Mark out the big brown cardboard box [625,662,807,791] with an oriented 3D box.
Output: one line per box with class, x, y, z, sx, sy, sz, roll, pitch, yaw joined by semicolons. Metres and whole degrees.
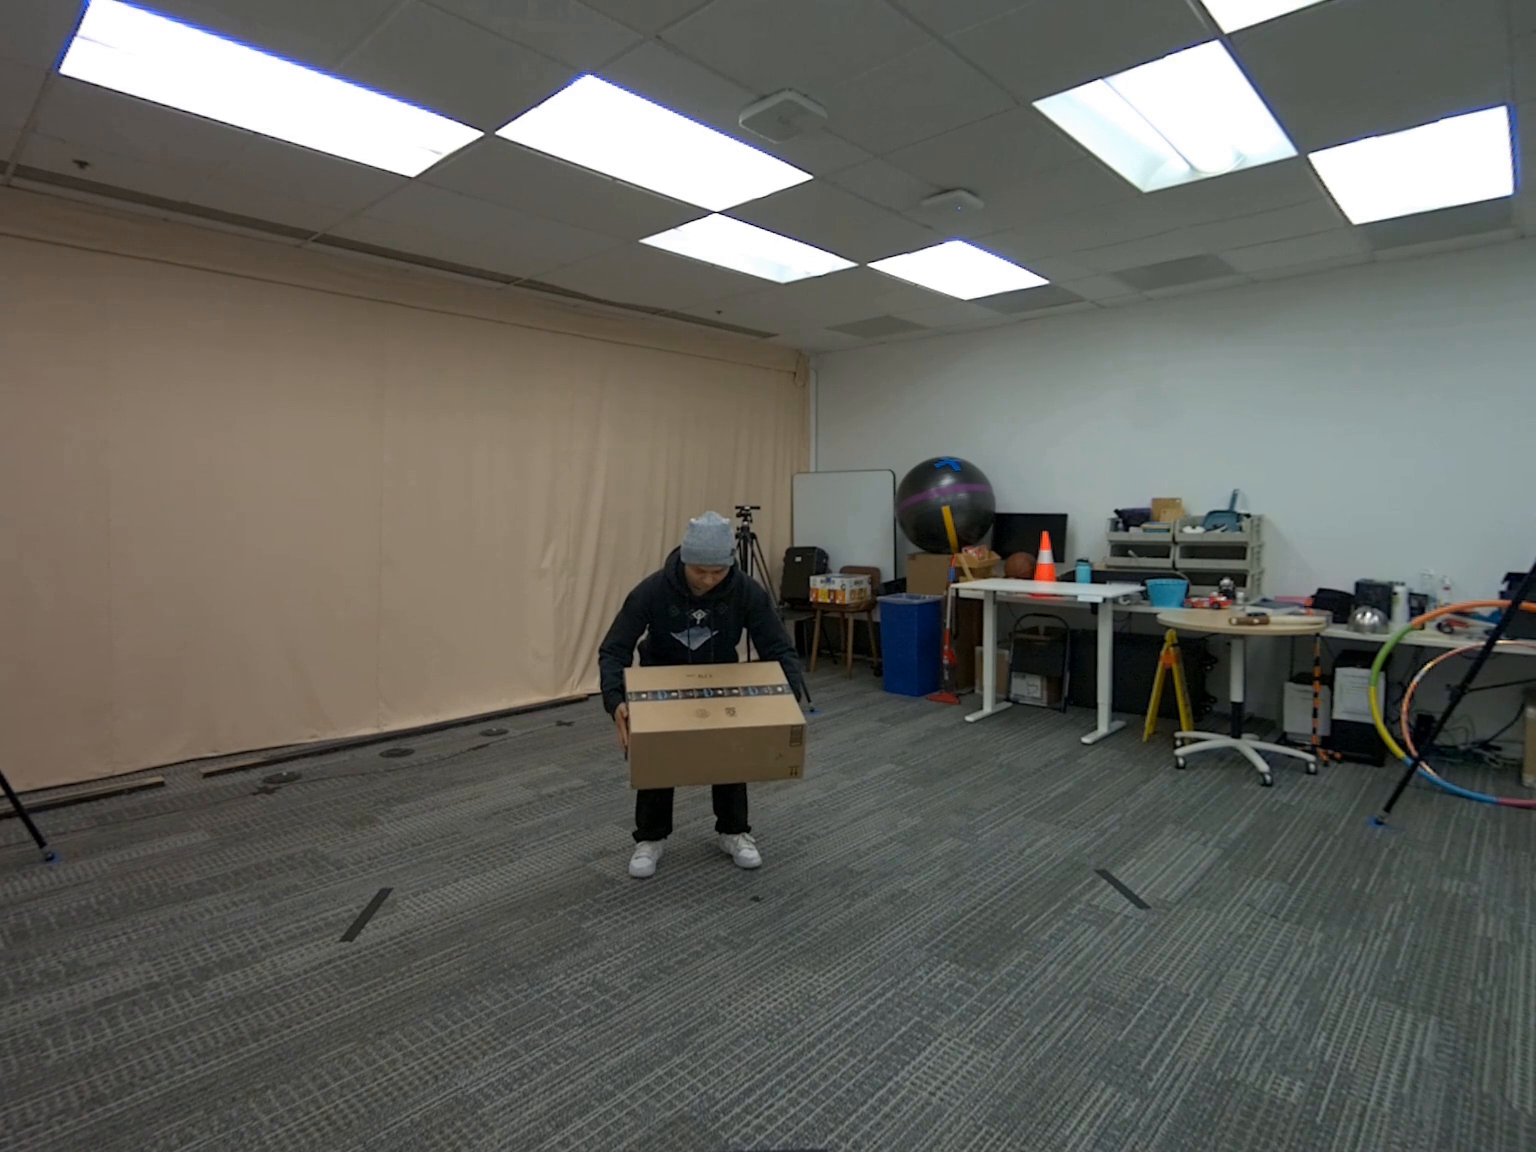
big brown cardboard box;-0.201;0.496;2.875;0.584;0.230;0.426;-2;22;-9
